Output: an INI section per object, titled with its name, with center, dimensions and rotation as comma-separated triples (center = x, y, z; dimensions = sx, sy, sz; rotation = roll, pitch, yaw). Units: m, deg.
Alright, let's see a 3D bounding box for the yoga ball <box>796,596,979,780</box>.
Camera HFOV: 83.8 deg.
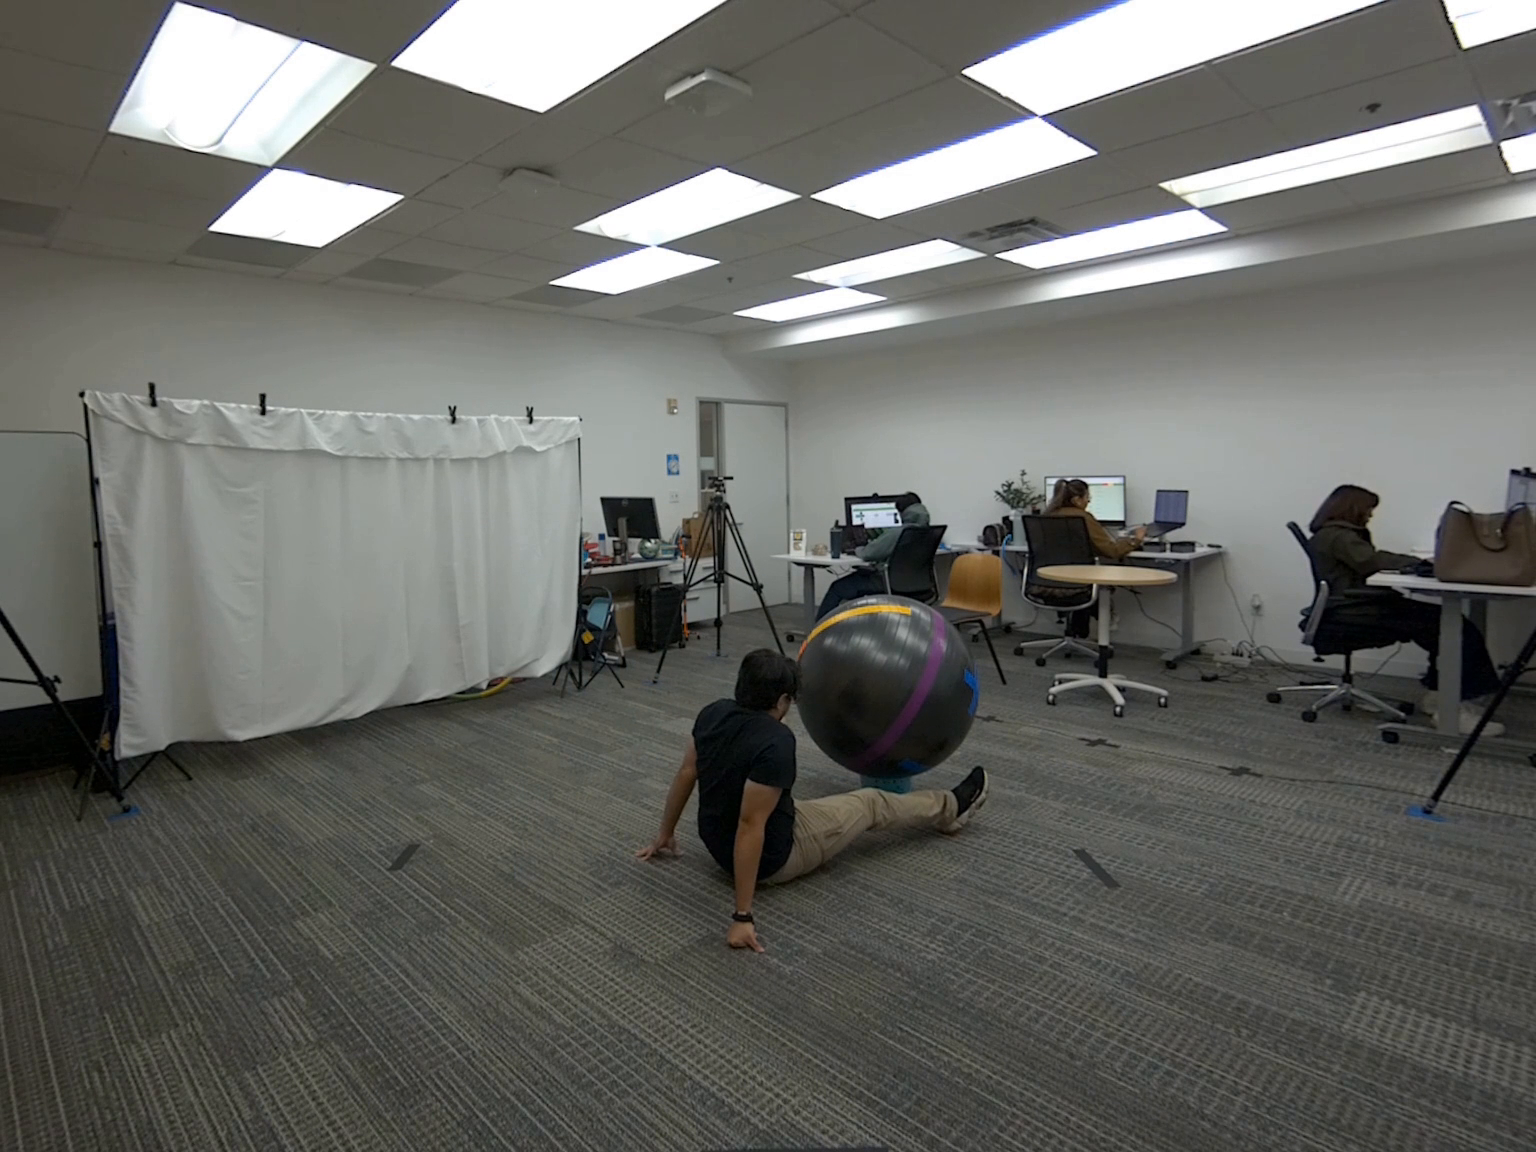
[yoga ball]
center = 0.491, 0.461, 3.589
dimensions = 0.757, 0.755, 0.762
rotation = -1, 5, -2
